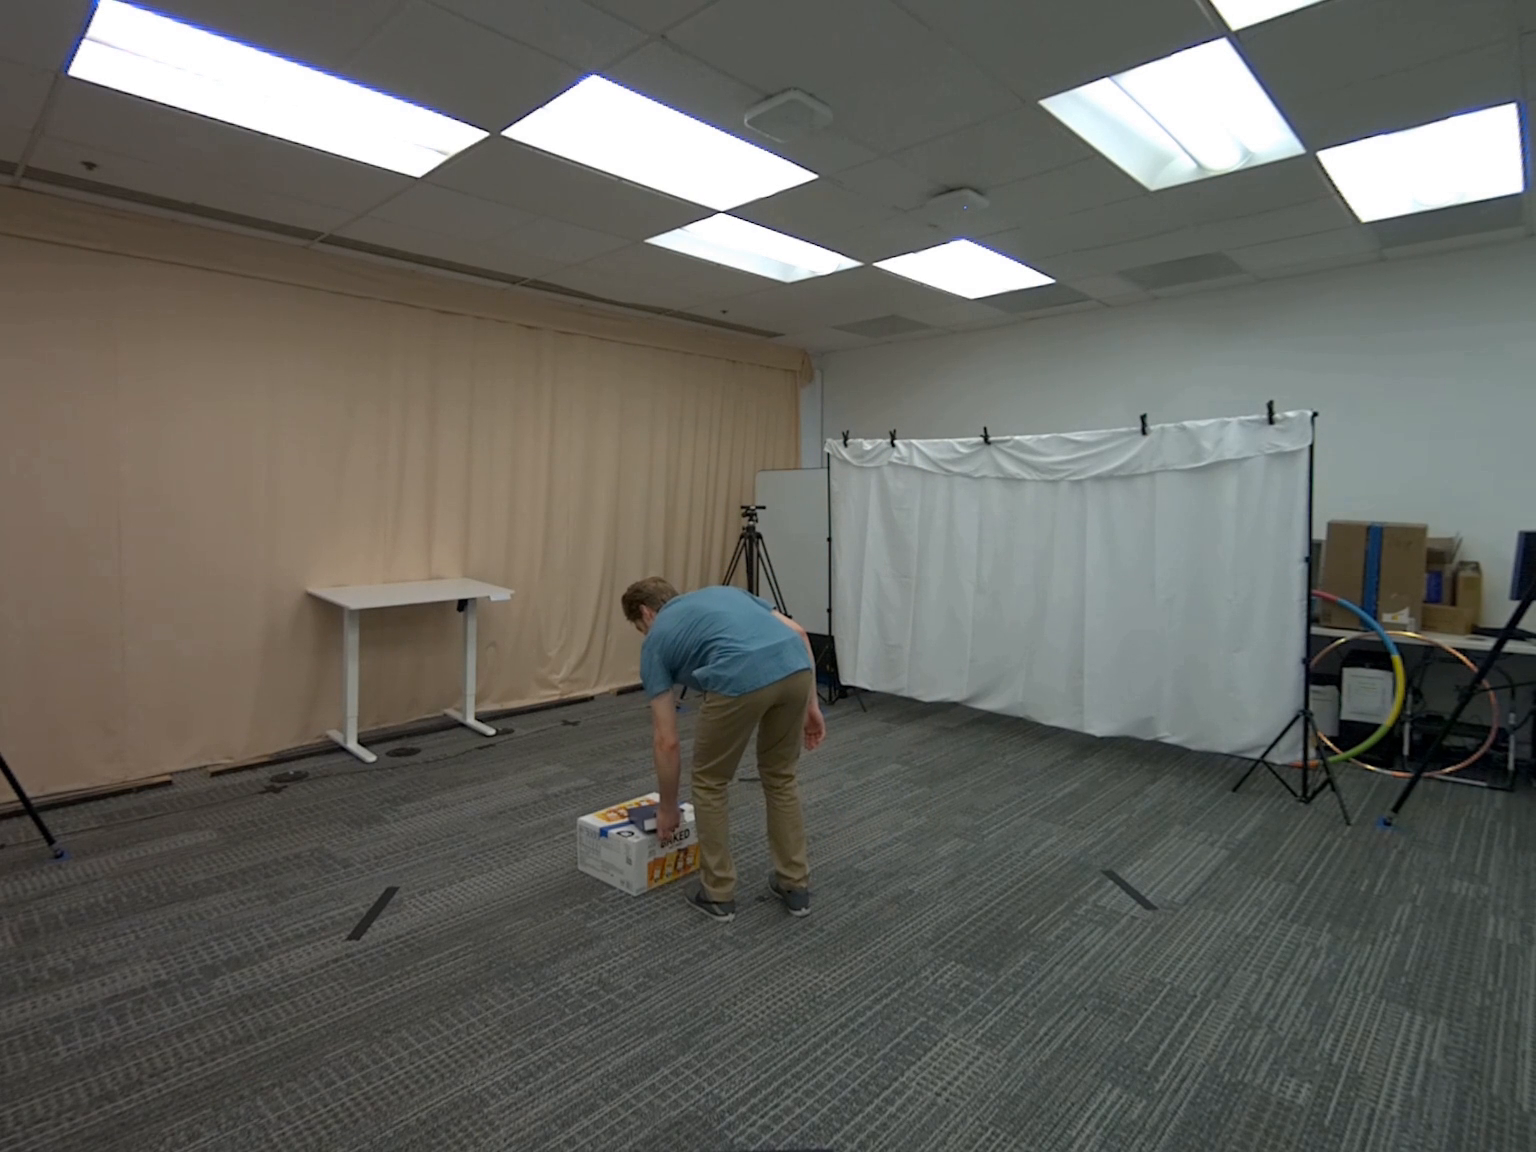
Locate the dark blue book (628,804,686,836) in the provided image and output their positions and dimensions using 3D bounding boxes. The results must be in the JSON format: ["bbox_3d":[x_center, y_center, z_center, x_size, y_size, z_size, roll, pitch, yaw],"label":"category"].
[{"bbox_3d":[-0.421,0.902,3.166,0.161,0.045,0.248,-8,-2,-18],"label":"dark blue book"}]
